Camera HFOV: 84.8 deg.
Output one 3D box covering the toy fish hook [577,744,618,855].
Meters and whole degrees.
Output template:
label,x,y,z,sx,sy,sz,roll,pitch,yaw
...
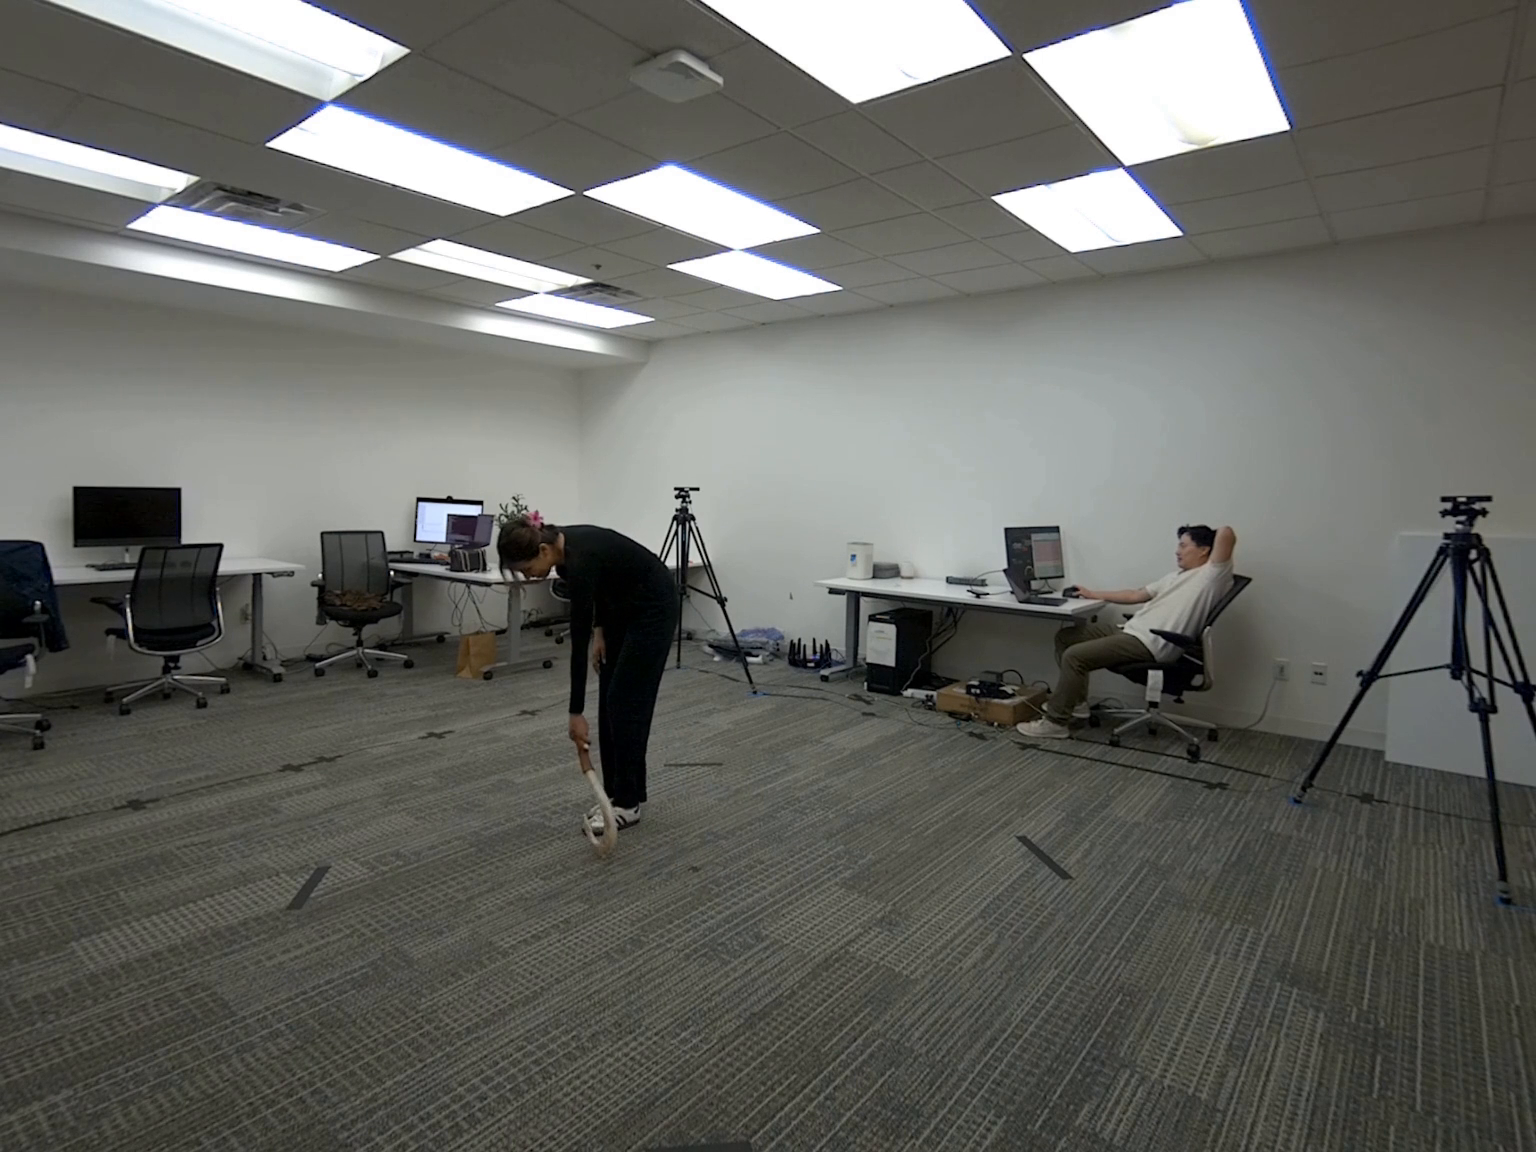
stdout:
label,x,y,z,sx,sy,sz,roll,pitch,yaw
toy fish hook,-0.700,0.828,3.282,0.047,0.525,0.224,5,-43,-39
